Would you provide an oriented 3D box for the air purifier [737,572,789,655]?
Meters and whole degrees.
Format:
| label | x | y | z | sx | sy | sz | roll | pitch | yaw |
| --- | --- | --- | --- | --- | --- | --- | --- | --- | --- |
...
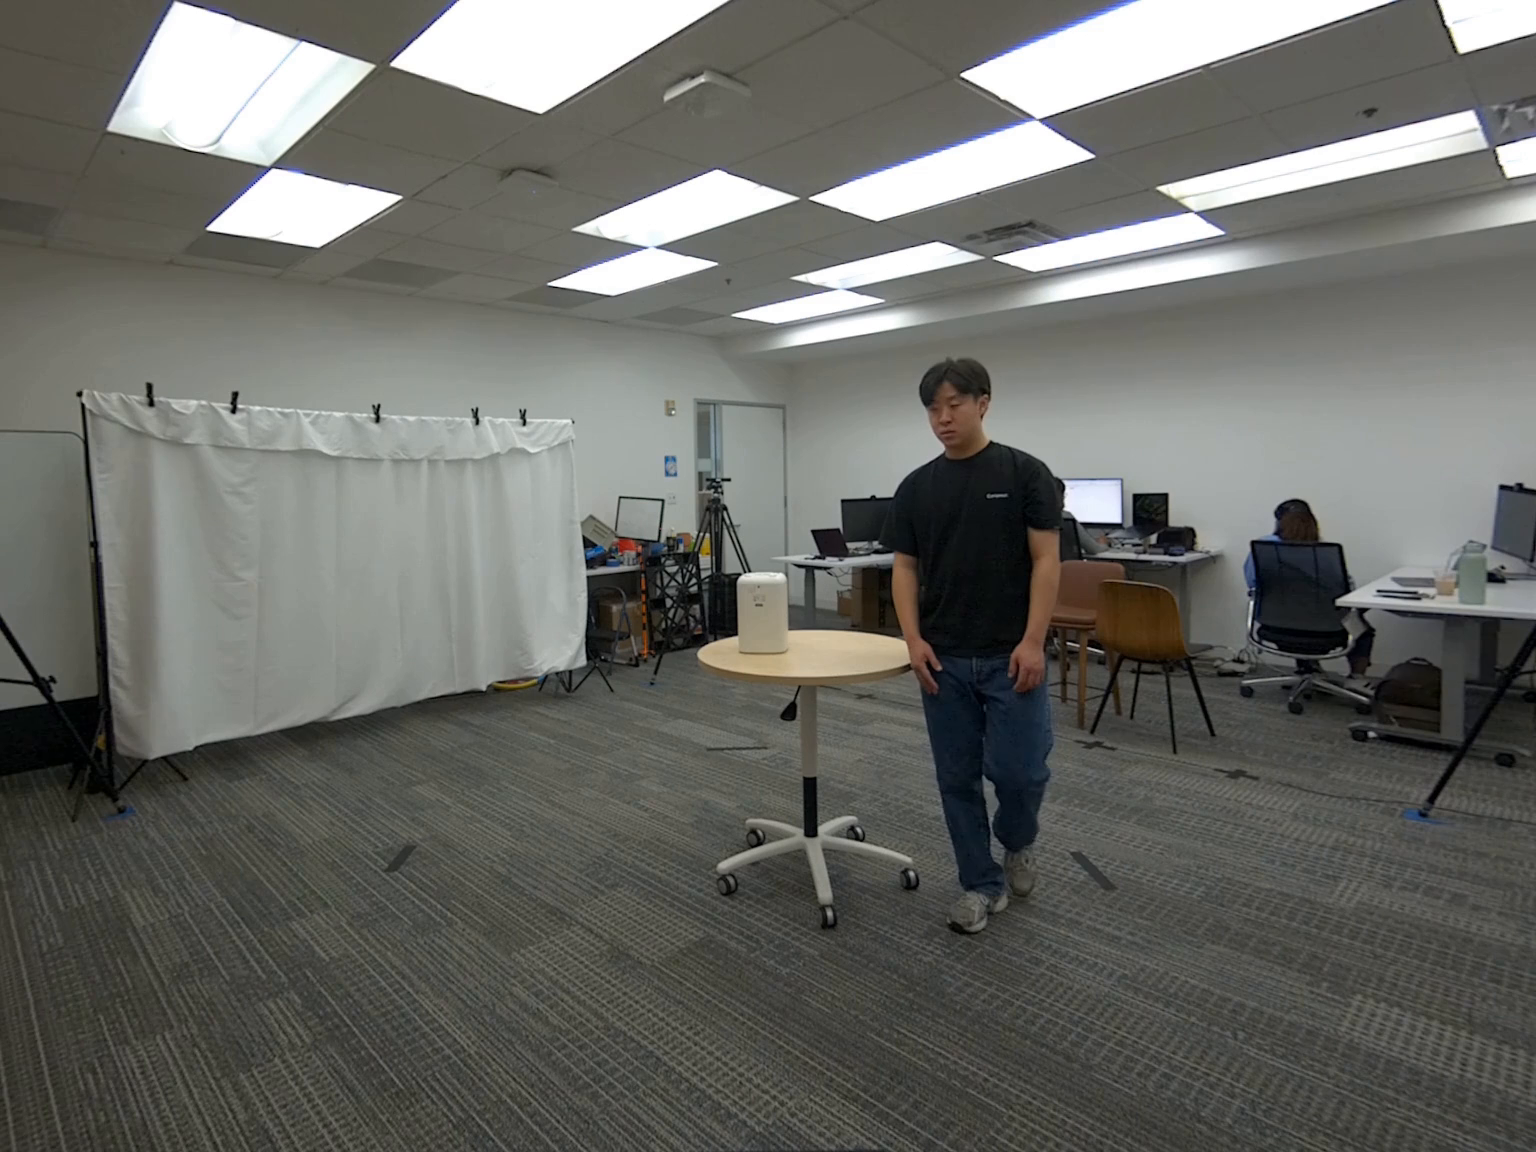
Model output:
| label | x | y | z | sx | sy | sz | roll | pitch | yaw |
| --- | --- | --- | --- | --- | --- | --- | --- | --- | --- |
| air purifier | -0.015 | 0.126 | 3.002 | 0.172 | 0.265 | 0.171 | -1 | 3 | 7 |
